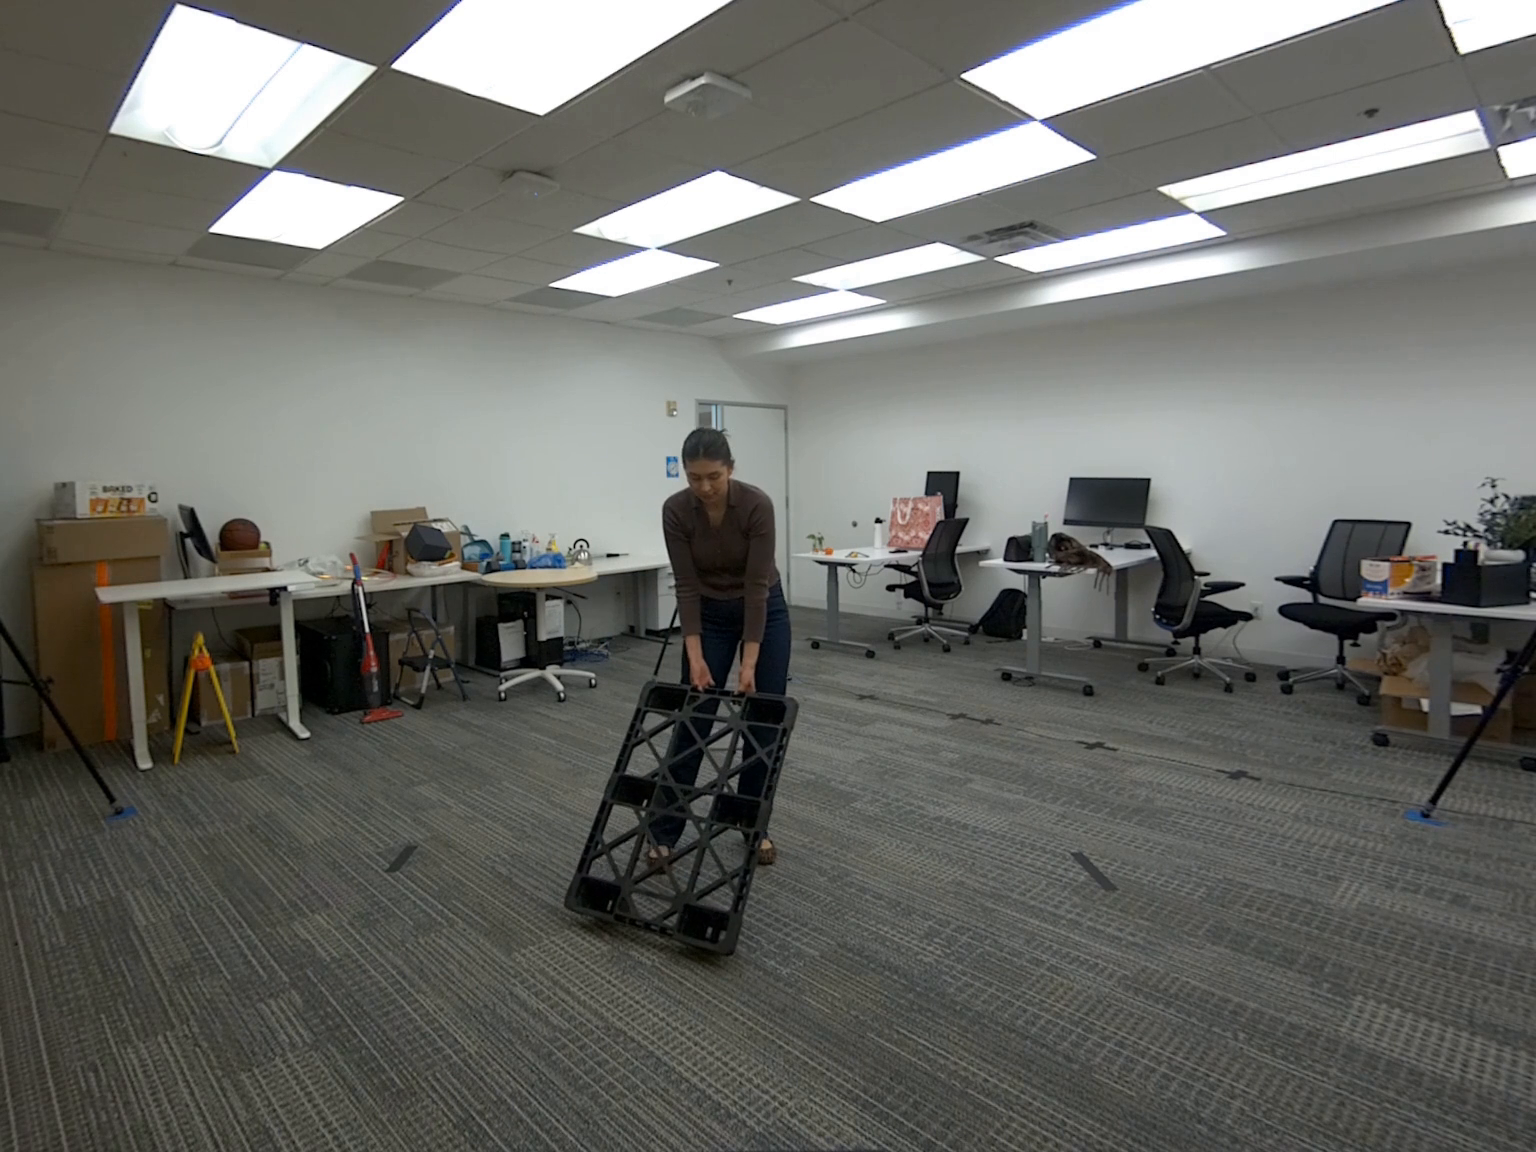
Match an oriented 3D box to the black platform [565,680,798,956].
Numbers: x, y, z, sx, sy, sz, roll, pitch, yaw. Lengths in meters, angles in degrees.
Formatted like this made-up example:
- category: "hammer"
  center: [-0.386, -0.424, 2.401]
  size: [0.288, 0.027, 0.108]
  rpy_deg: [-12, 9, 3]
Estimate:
- category: "black platform"
  center: [-0.249, 0.753, 2.802]
  size: [0.620, 0.817, 0.138]
  rpy_deg: [2, -33, 26]
